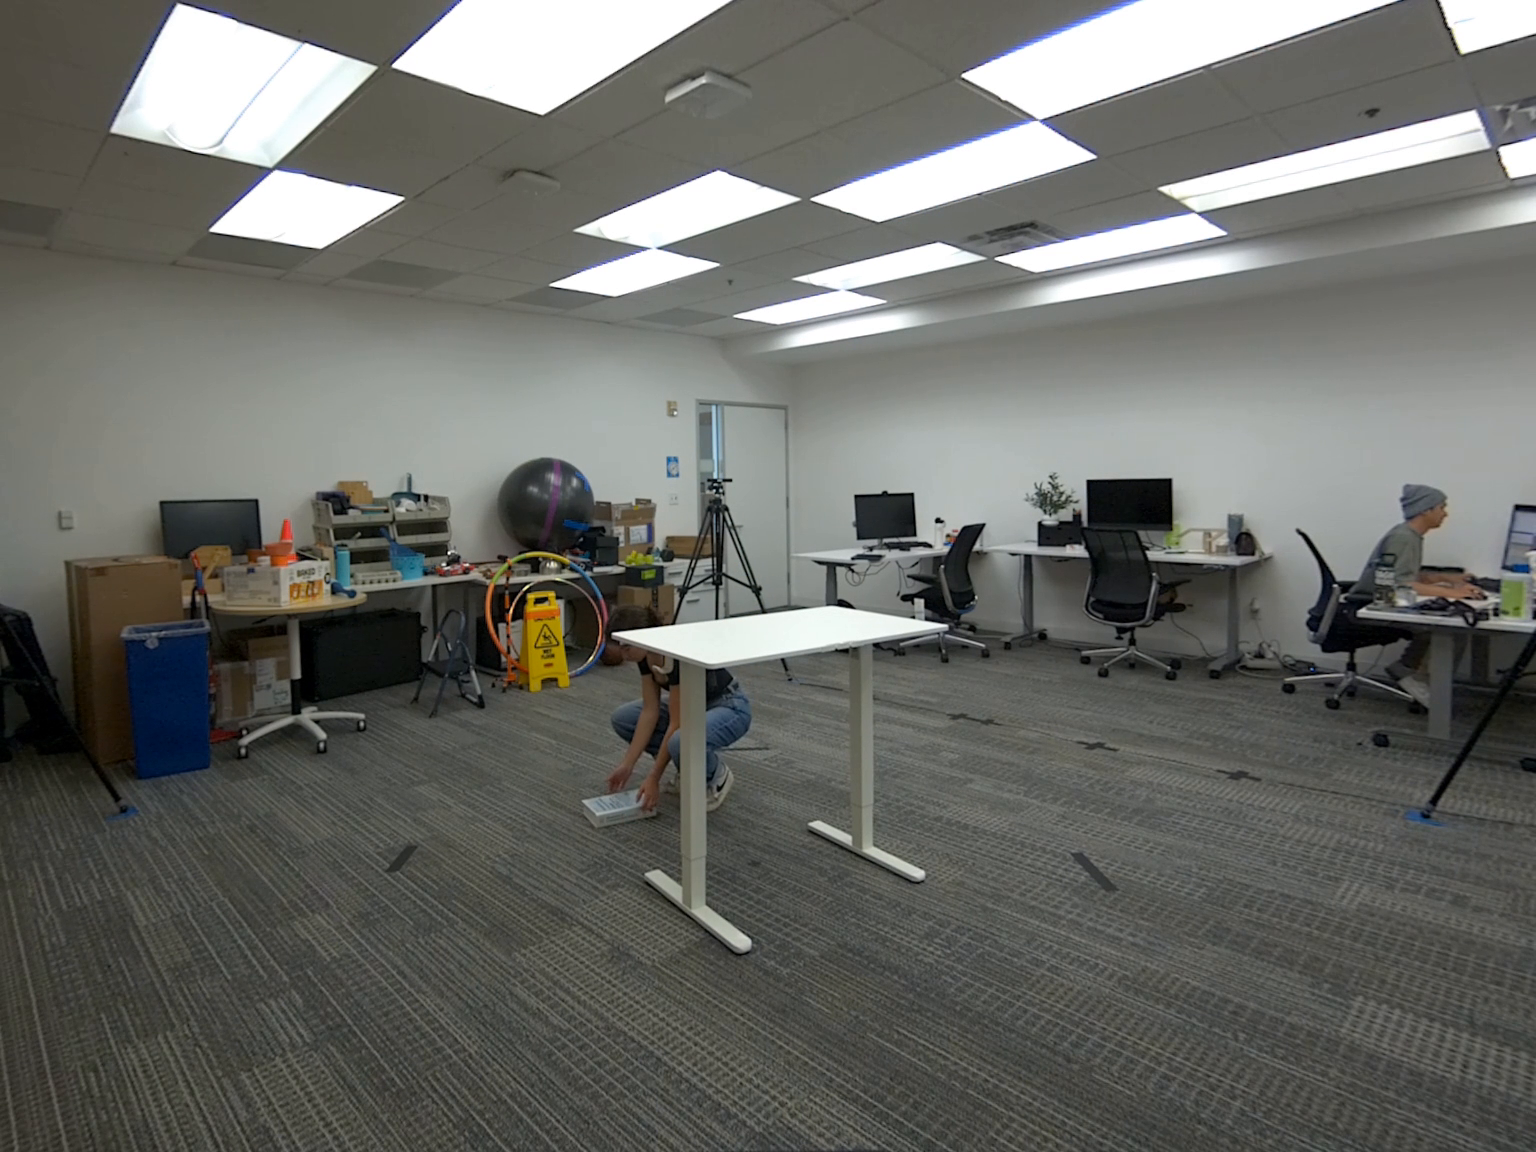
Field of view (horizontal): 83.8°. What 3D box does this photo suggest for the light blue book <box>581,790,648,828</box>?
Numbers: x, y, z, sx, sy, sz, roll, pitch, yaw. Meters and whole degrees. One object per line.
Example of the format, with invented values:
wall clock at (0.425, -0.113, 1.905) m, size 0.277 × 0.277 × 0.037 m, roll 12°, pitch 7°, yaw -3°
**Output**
light blue book at (-0.624, 0.972, 3.581) m, size 0.255 × 0.059 × 0.197 m, roll -3°, pitch 6°, yaw -29°
